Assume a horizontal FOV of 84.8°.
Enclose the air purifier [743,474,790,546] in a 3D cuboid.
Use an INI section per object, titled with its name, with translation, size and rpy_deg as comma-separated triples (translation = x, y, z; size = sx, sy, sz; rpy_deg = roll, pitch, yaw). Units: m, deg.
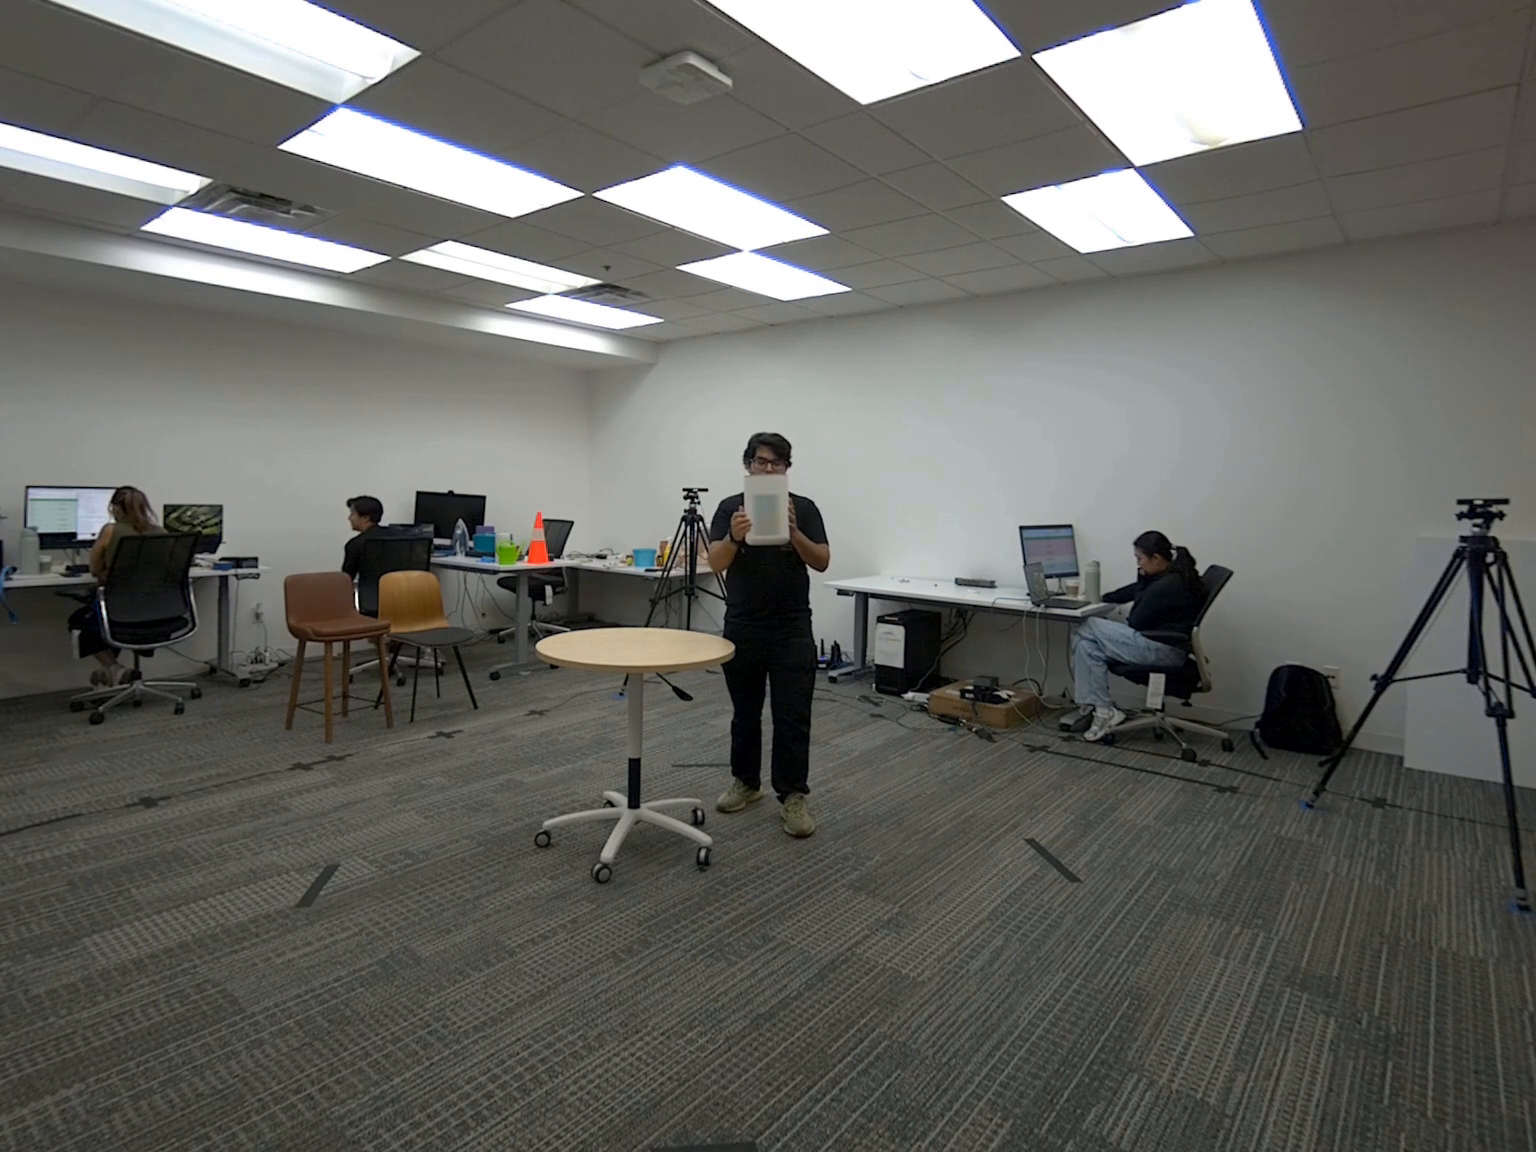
[air purifier]
translation = -0.008, -0.262, 3.275
size = 0.171, 0.265, 0.171
rpy_deg = -4, 0, -4
